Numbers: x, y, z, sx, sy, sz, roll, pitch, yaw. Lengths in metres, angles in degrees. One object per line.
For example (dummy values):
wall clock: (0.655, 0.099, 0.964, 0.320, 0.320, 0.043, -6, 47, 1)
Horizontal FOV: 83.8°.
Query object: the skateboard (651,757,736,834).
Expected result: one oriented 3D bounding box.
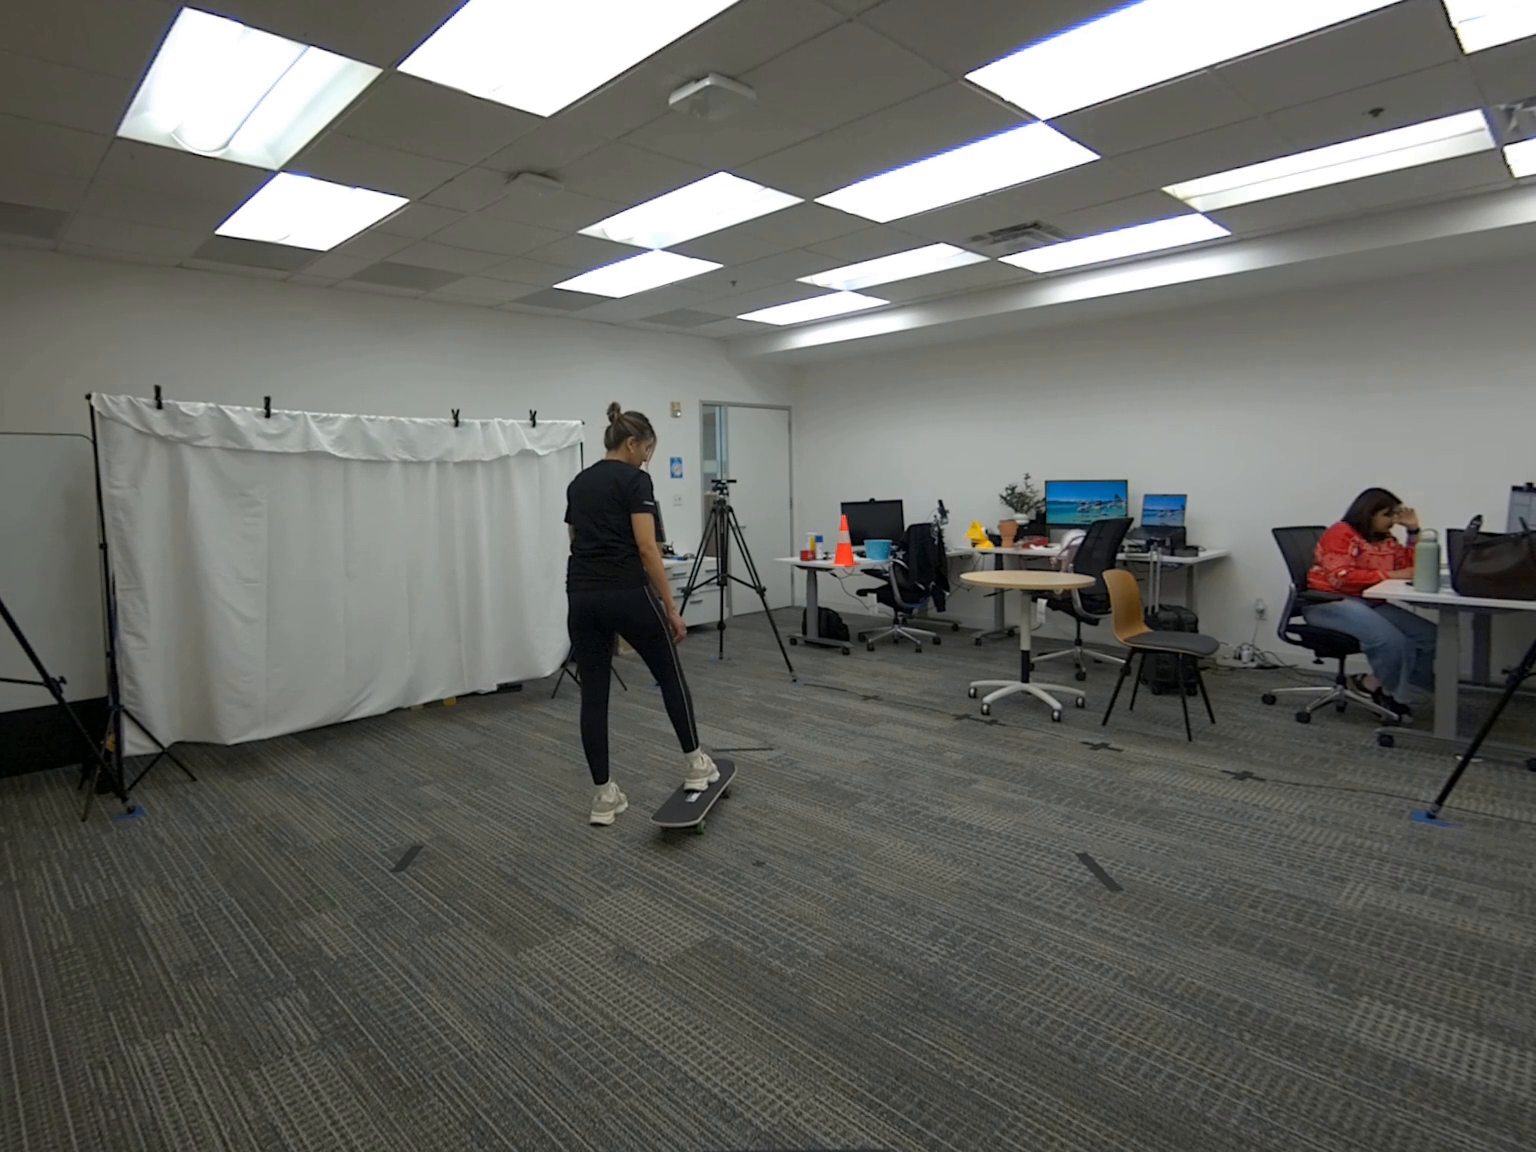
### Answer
skateboard: (-0.301, 0.942, 3.578, 0.196, 0.110, 0.778, -1, 6, 12)
